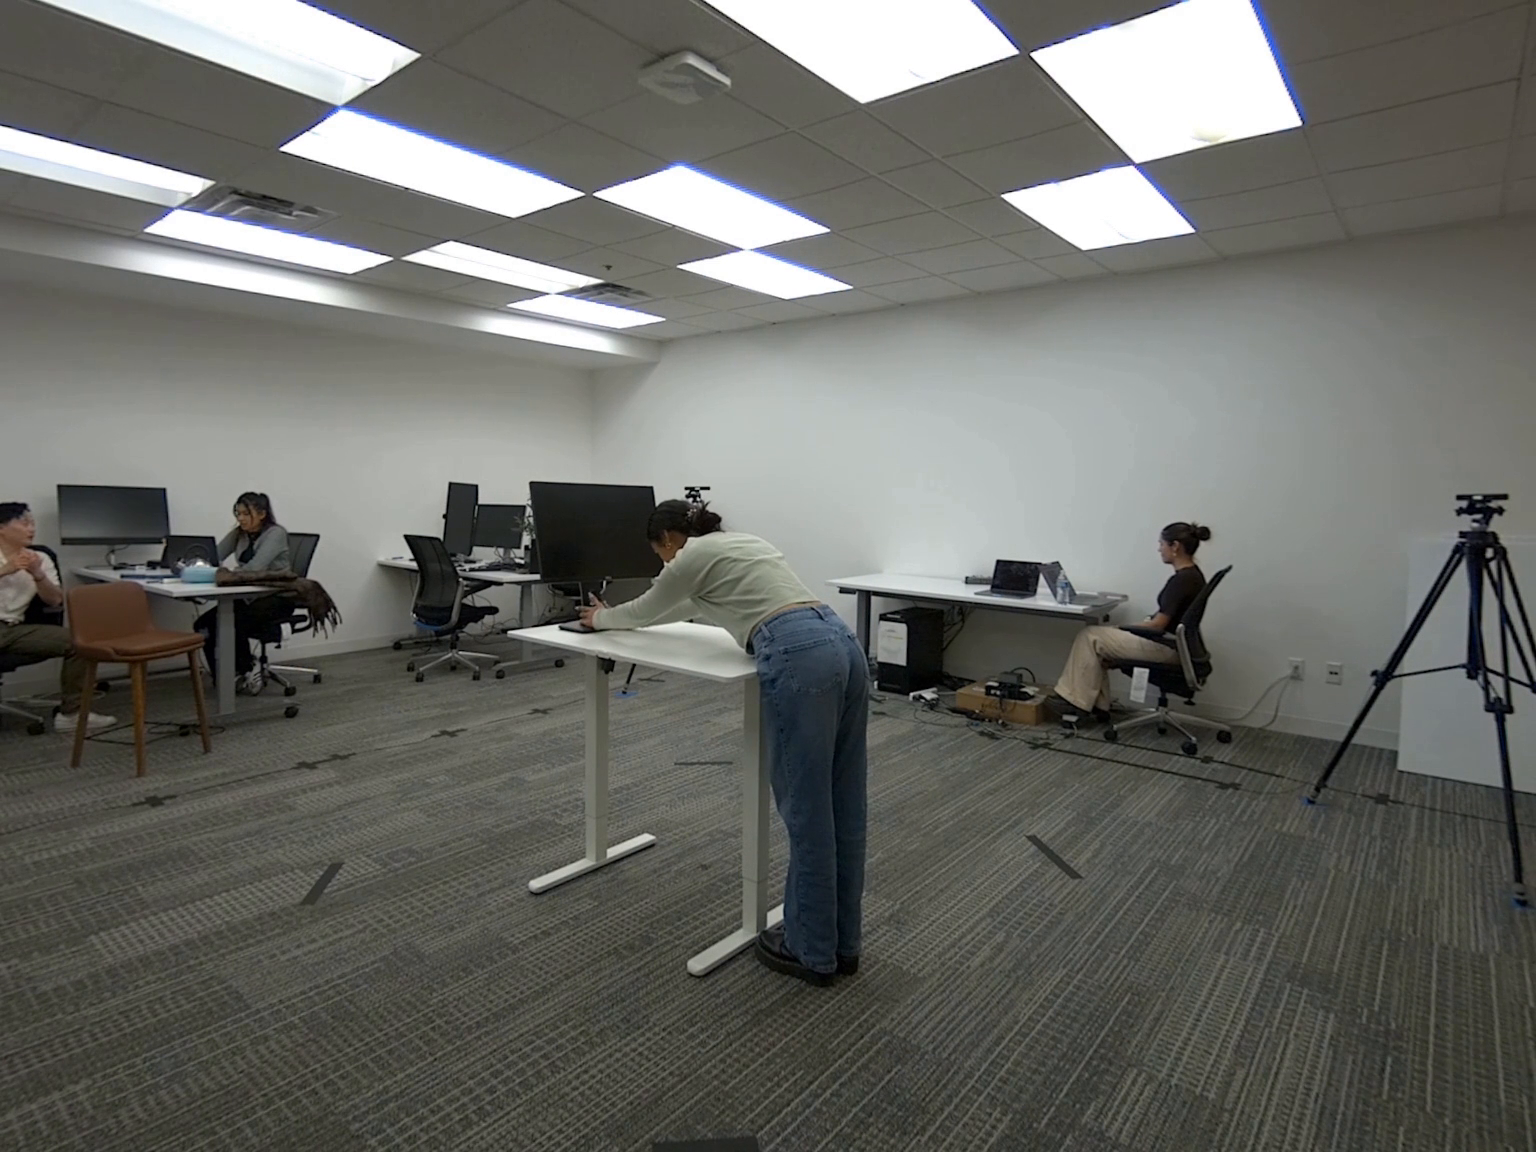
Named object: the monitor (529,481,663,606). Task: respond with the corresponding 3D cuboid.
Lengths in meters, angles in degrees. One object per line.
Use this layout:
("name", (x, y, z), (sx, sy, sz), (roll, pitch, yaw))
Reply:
("monitor", (-0.640, -0.074, 3.051), (0.193, 0.522, 0.522), (0, 1, 43))
